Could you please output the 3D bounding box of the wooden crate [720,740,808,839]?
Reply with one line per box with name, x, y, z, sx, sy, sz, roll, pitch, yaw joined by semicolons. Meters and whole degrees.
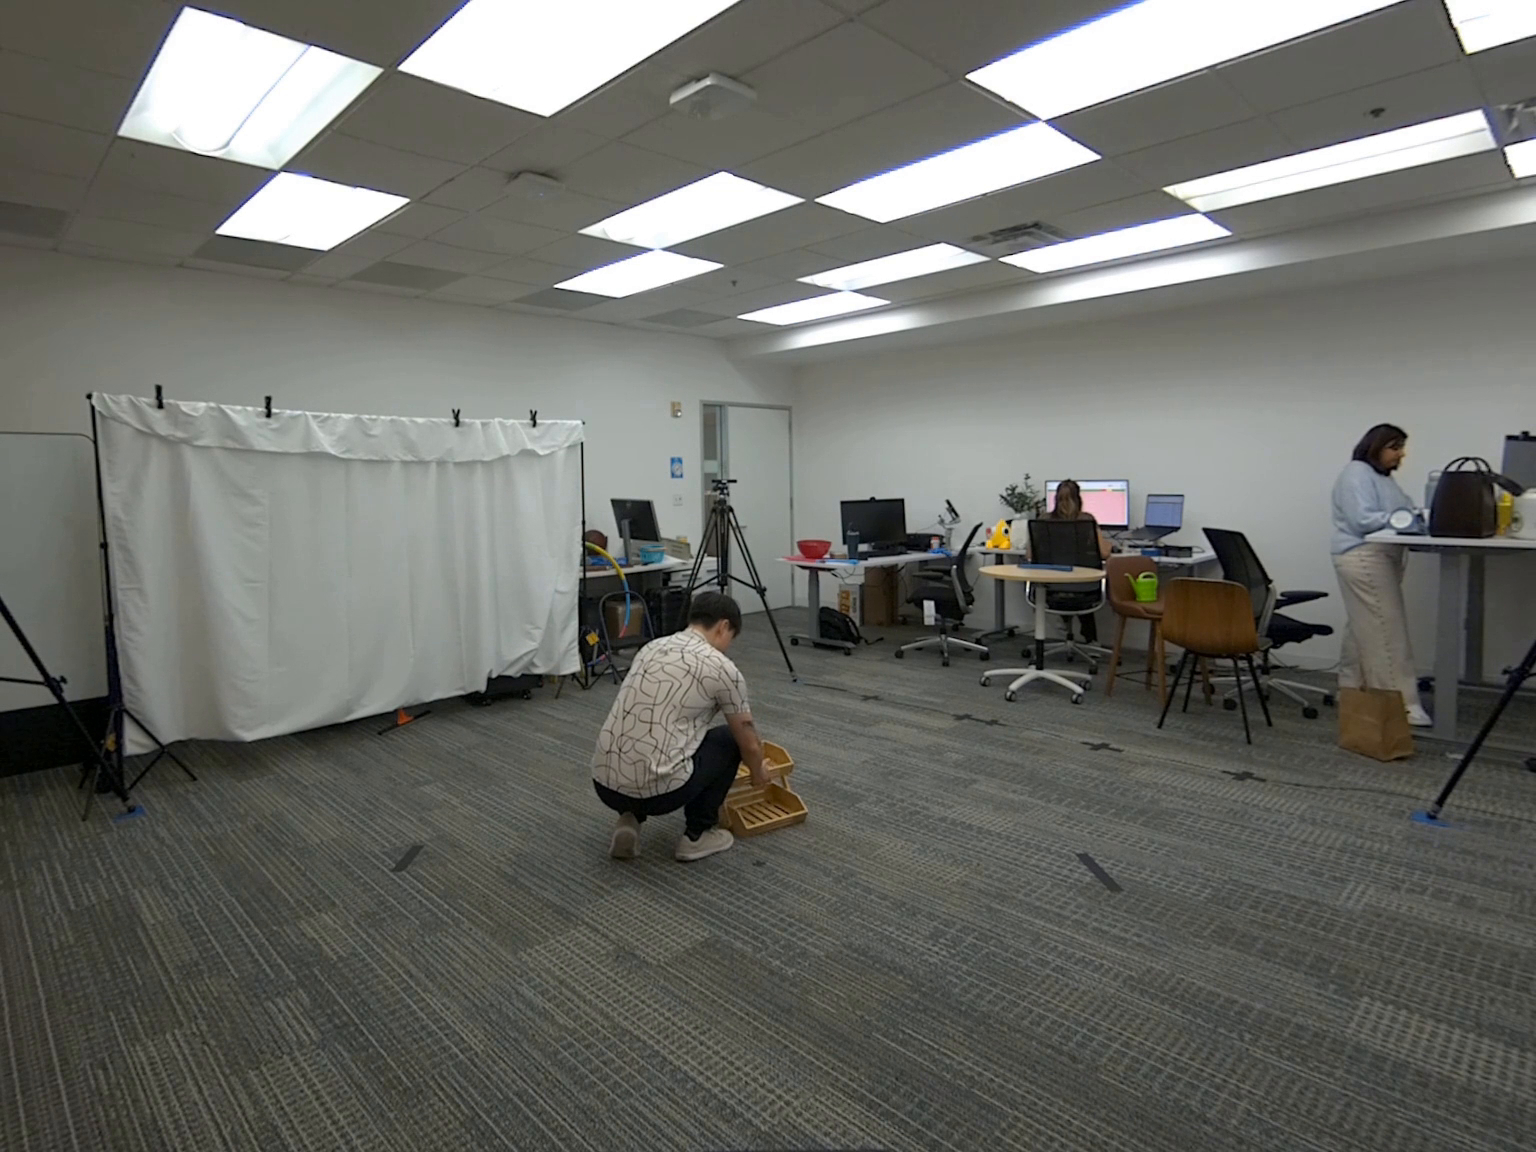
wooden crate;-0.043;0.854;3.512;0.317;0.272;0.311;-6;8;-34
